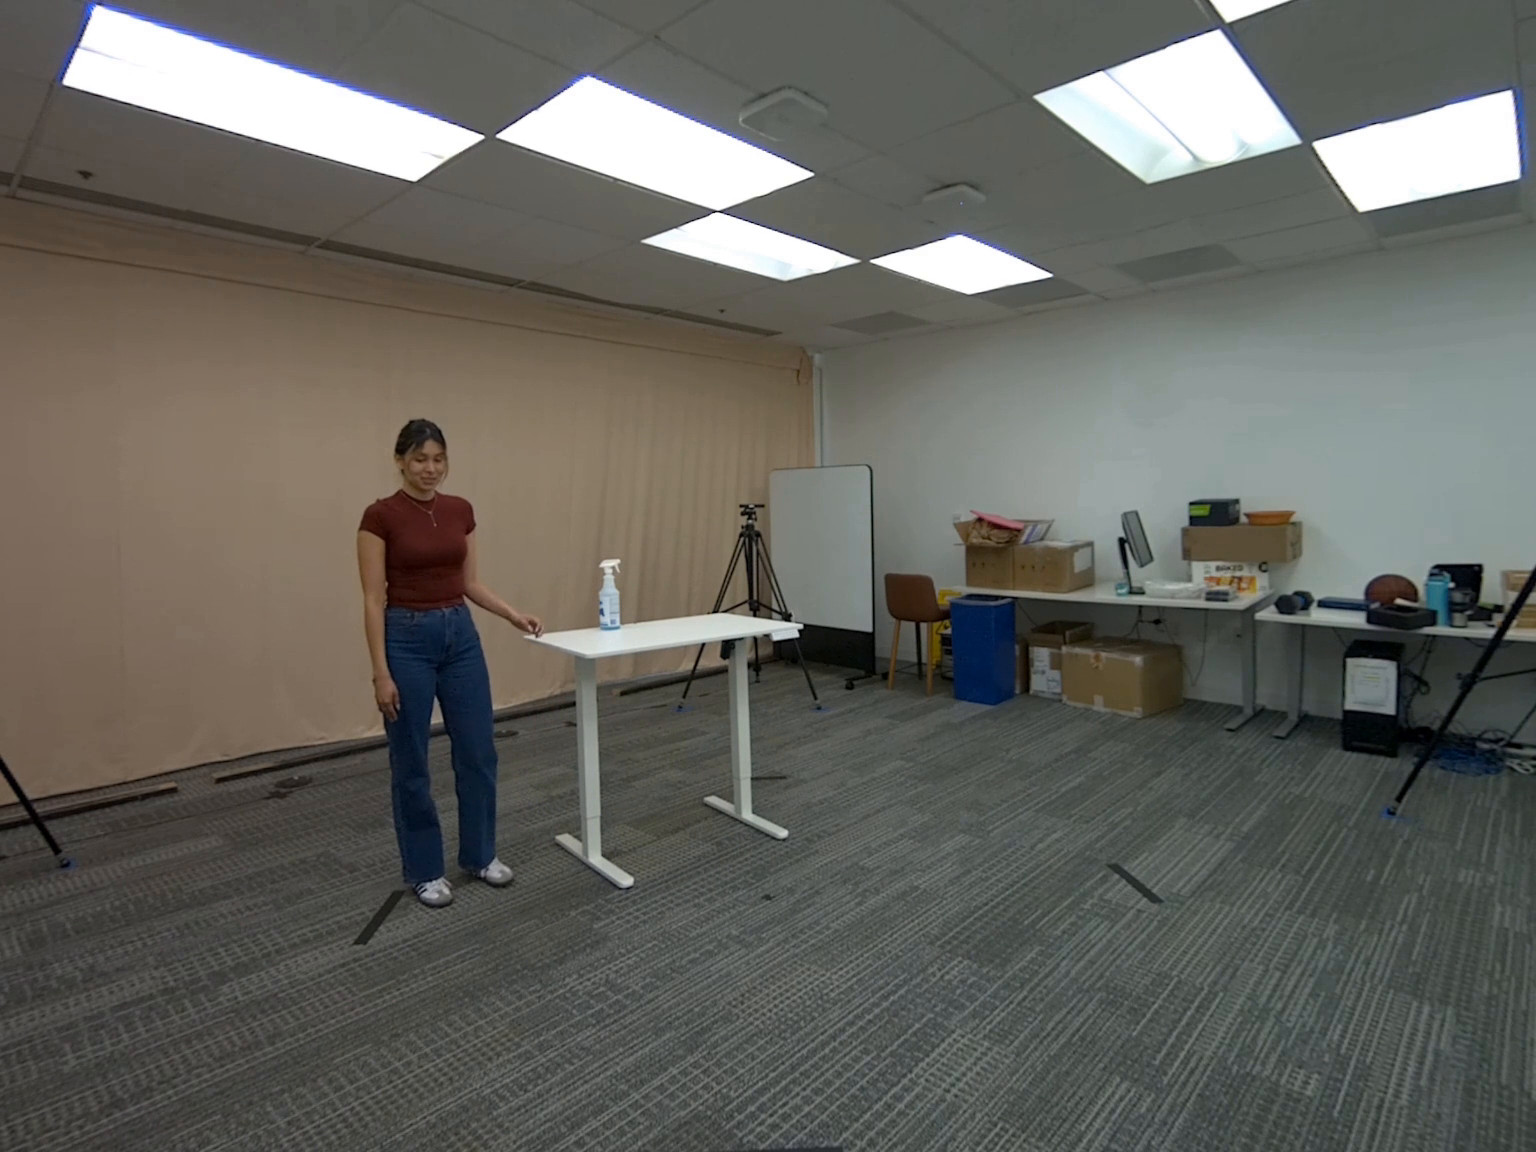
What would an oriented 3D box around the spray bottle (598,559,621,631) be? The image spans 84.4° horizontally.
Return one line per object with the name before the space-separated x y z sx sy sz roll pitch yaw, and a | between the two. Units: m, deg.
spray bottle | -0.676 0.082 3.581 0.093 0.296 0.084 2 5 34
